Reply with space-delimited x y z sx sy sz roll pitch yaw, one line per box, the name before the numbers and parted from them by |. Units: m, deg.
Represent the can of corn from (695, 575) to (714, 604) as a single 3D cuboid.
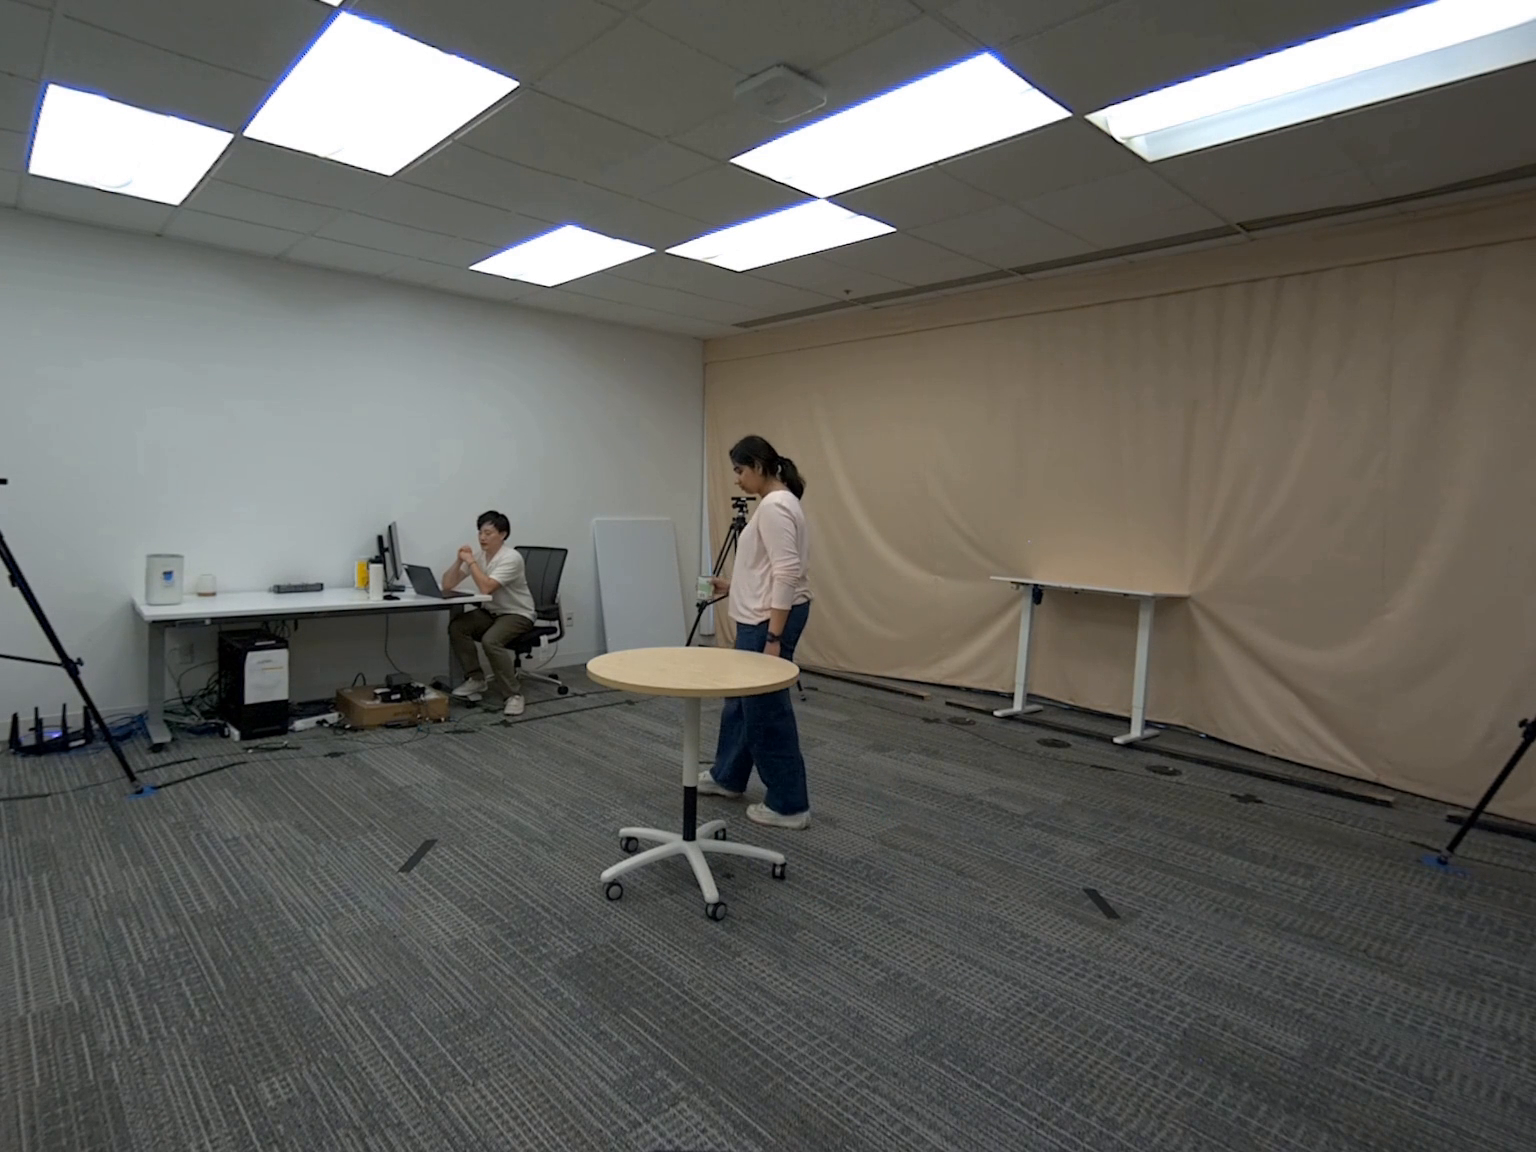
can of corn | -0.283 0.051 3.798 0.074 0.110 0.074 2 6 -2
